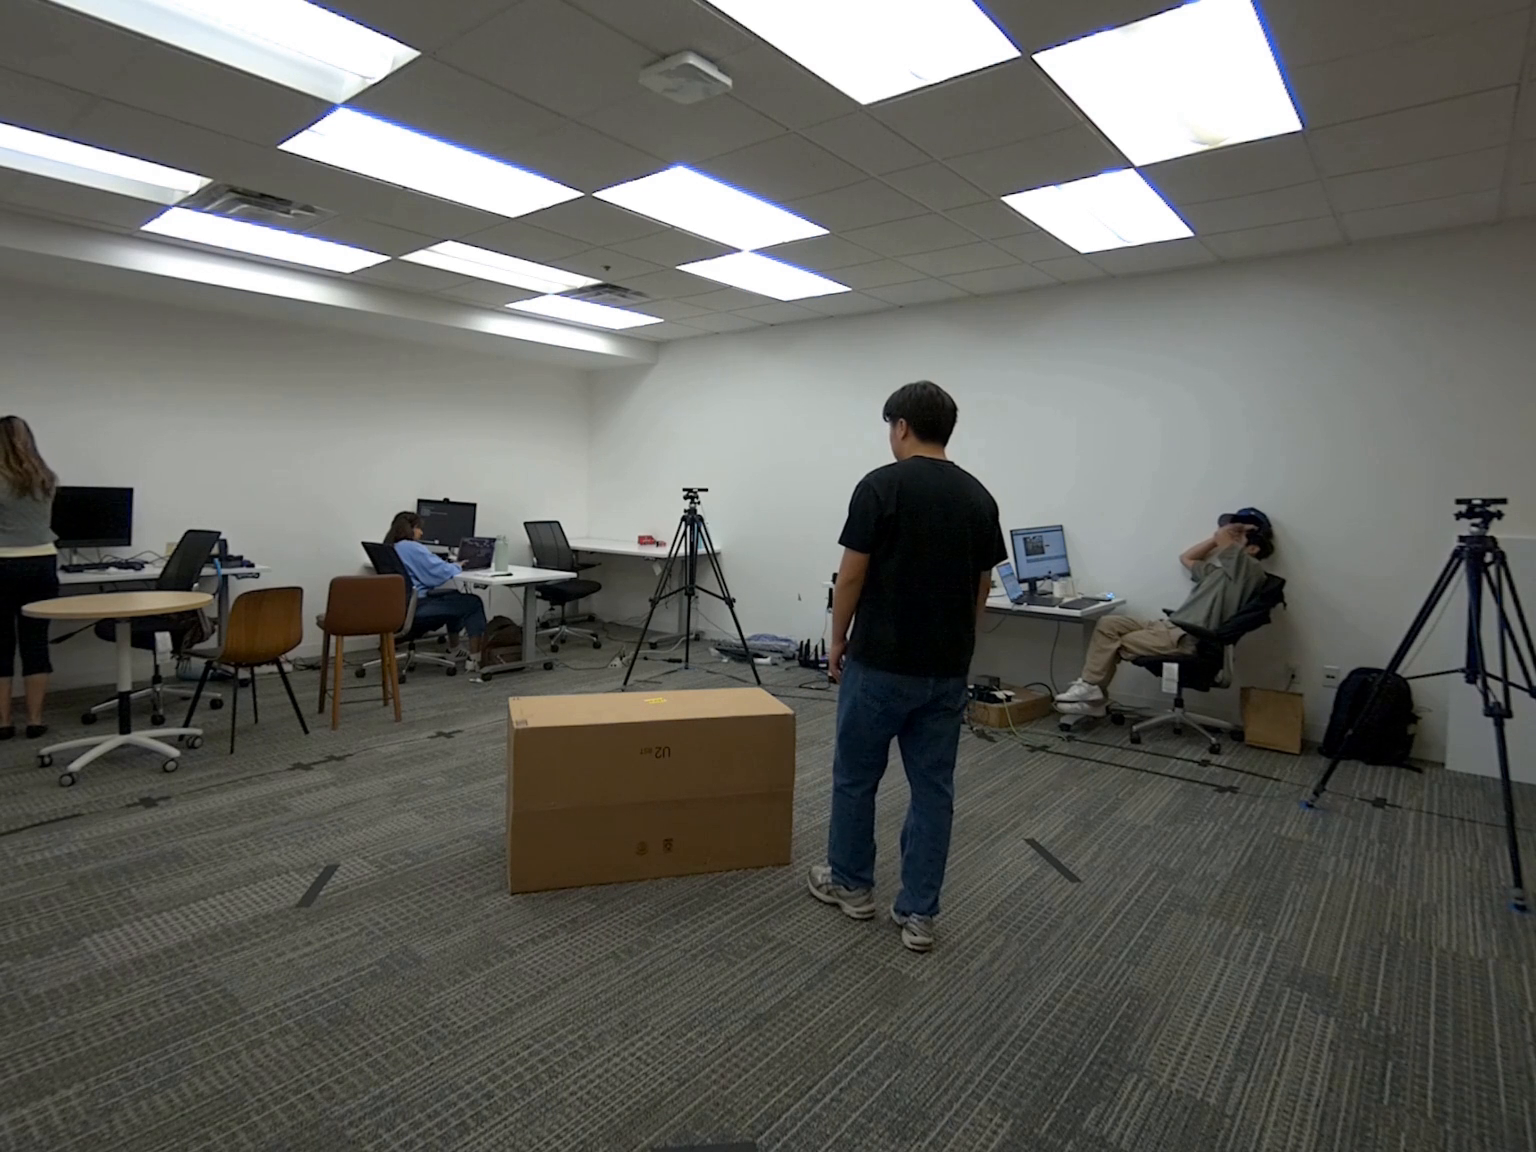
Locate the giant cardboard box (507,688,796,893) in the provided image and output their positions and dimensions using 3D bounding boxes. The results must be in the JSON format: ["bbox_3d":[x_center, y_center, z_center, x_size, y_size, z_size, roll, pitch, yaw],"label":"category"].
[{"bbox_3d":[-0.463,0.766,3.212,1.008,0.583,0.456,0,3,-18],"label":"giant cardboard box"}]
